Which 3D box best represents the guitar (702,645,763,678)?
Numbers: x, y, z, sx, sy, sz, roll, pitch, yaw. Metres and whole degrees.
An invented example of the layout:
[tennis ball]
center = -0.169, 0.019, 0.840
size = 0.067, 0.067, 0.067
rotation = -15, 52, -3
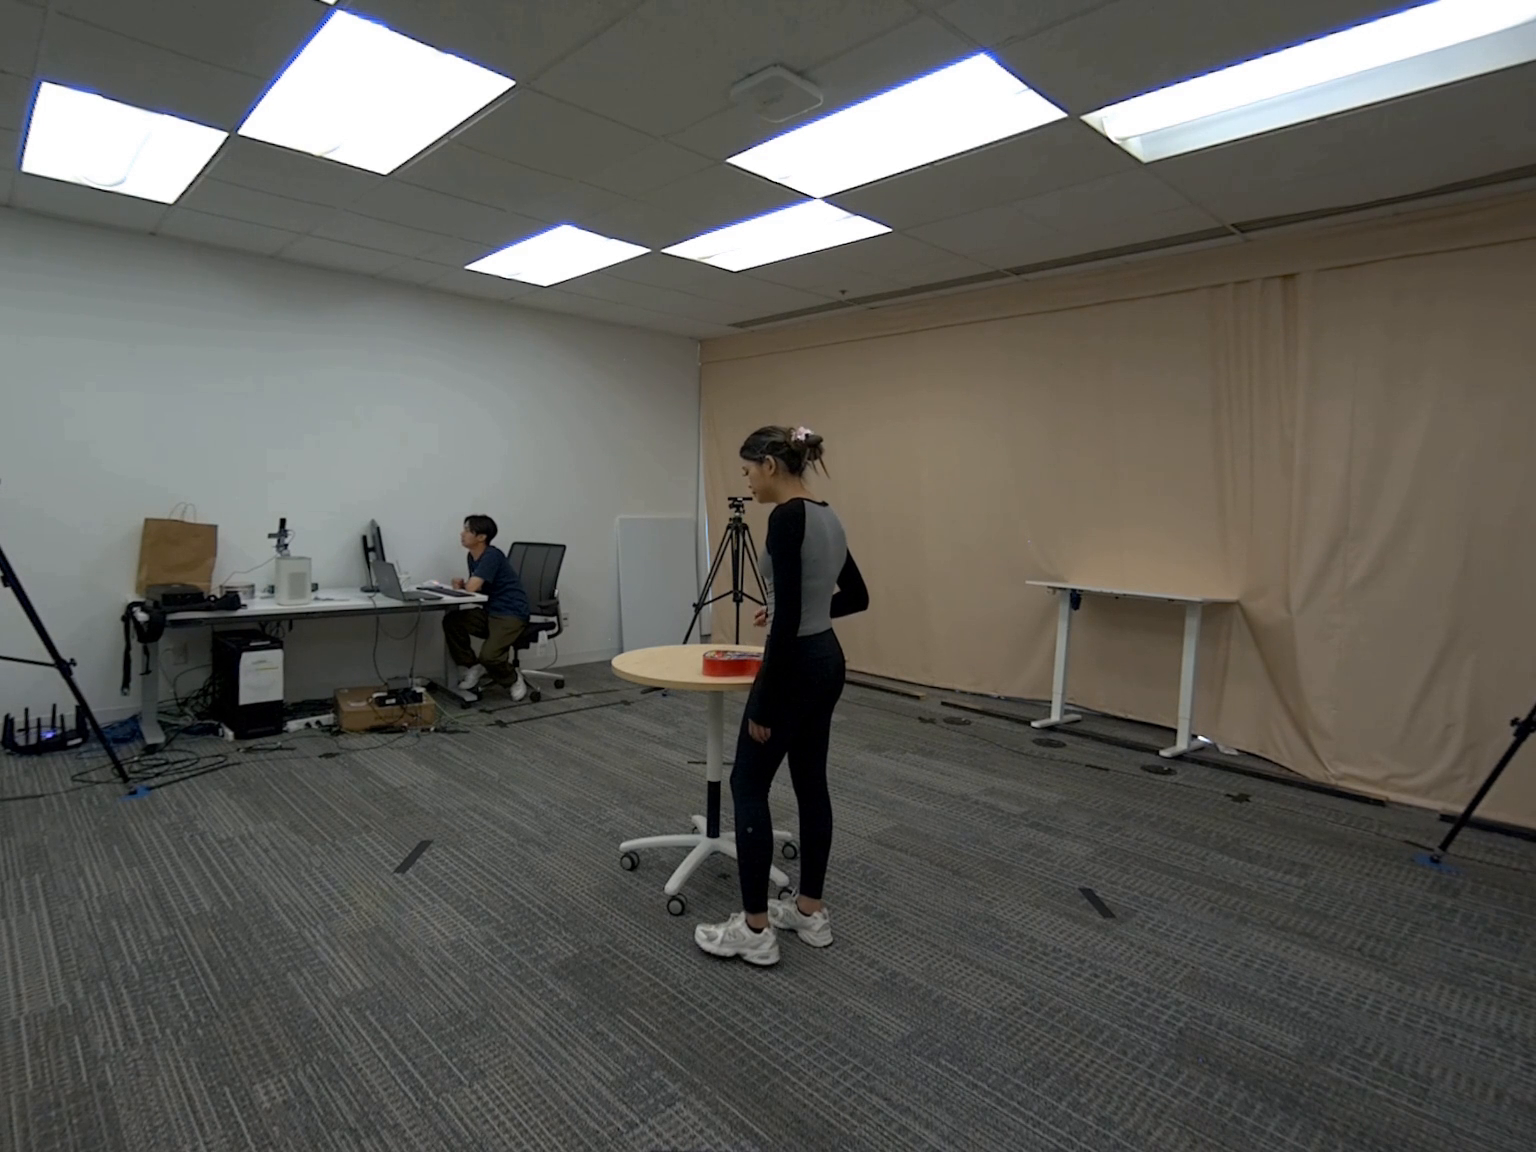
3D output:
[guitar]
center = 0.006, 0.306, 2.853
size = 0.504, 0.070, 0.191
rotation = 2, 5, 16
